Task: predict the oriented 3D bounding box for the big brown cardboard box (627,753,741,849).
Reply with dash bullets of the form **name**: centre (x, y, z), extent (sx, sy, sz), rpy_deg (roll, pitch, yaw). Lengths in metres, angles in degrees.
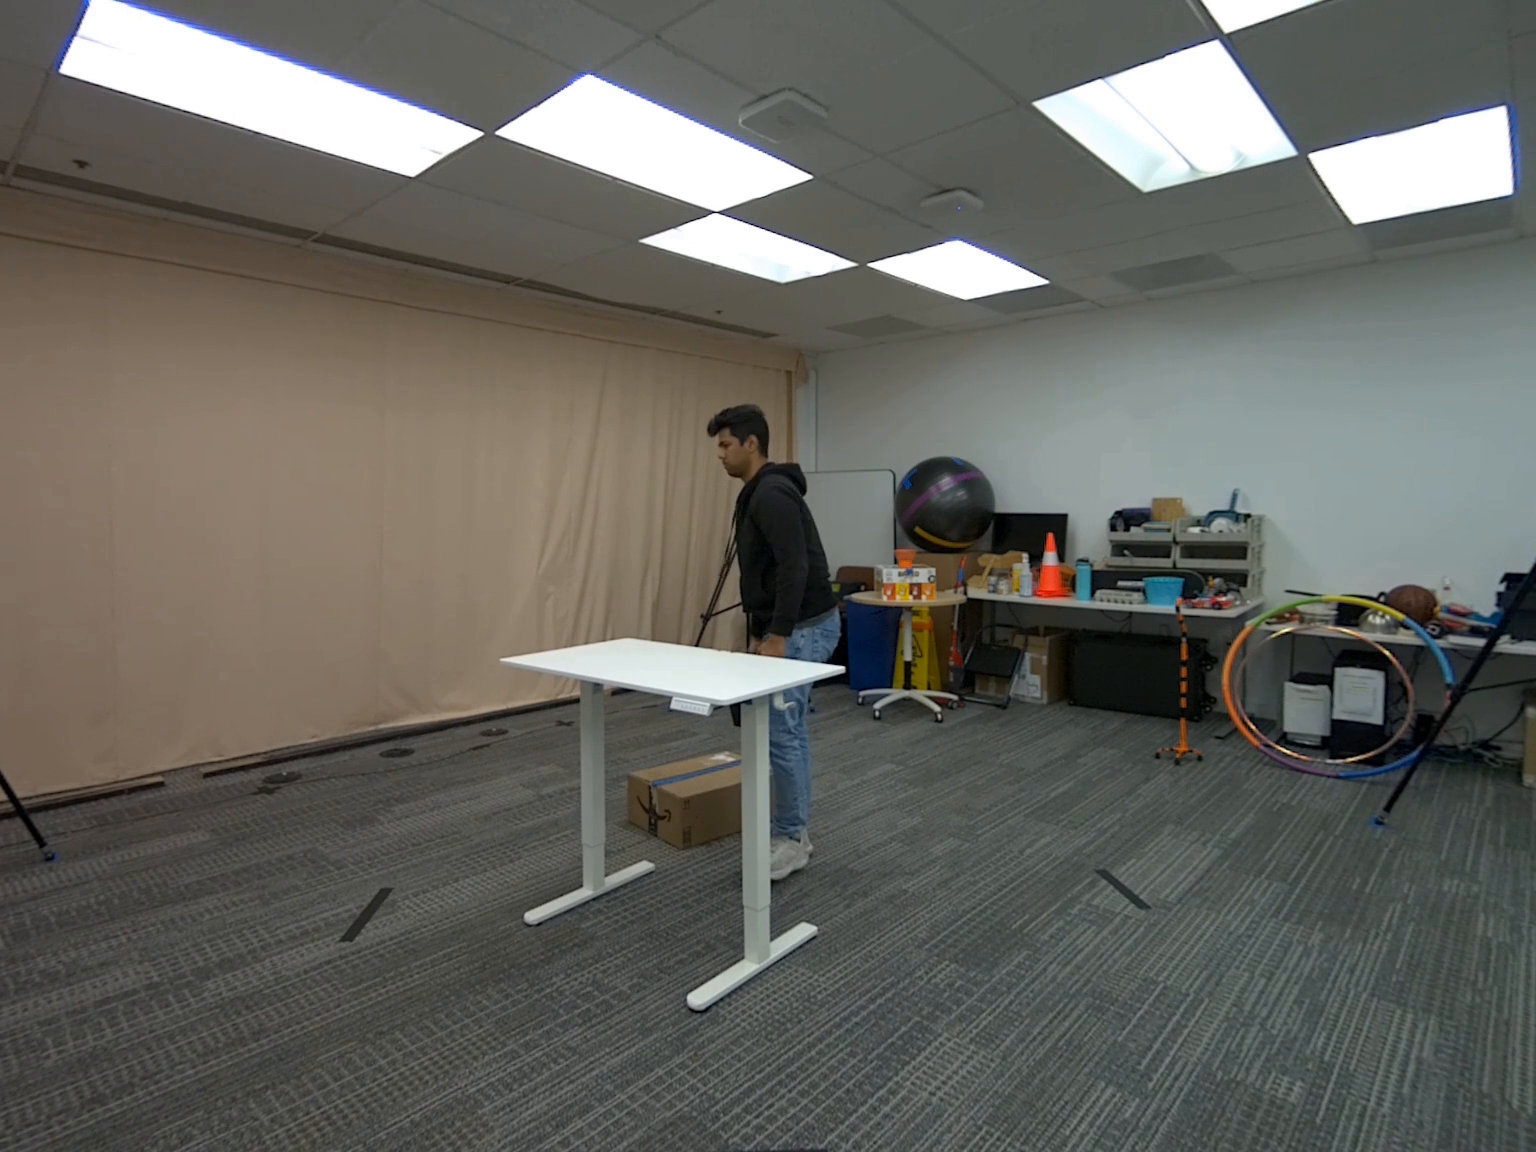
- **big brown cardboard box**: centre (-0.273, 0.974, 3.736), extent (0.571, 0.232, 0.431), rpy_deg (-5, 6, -39)
